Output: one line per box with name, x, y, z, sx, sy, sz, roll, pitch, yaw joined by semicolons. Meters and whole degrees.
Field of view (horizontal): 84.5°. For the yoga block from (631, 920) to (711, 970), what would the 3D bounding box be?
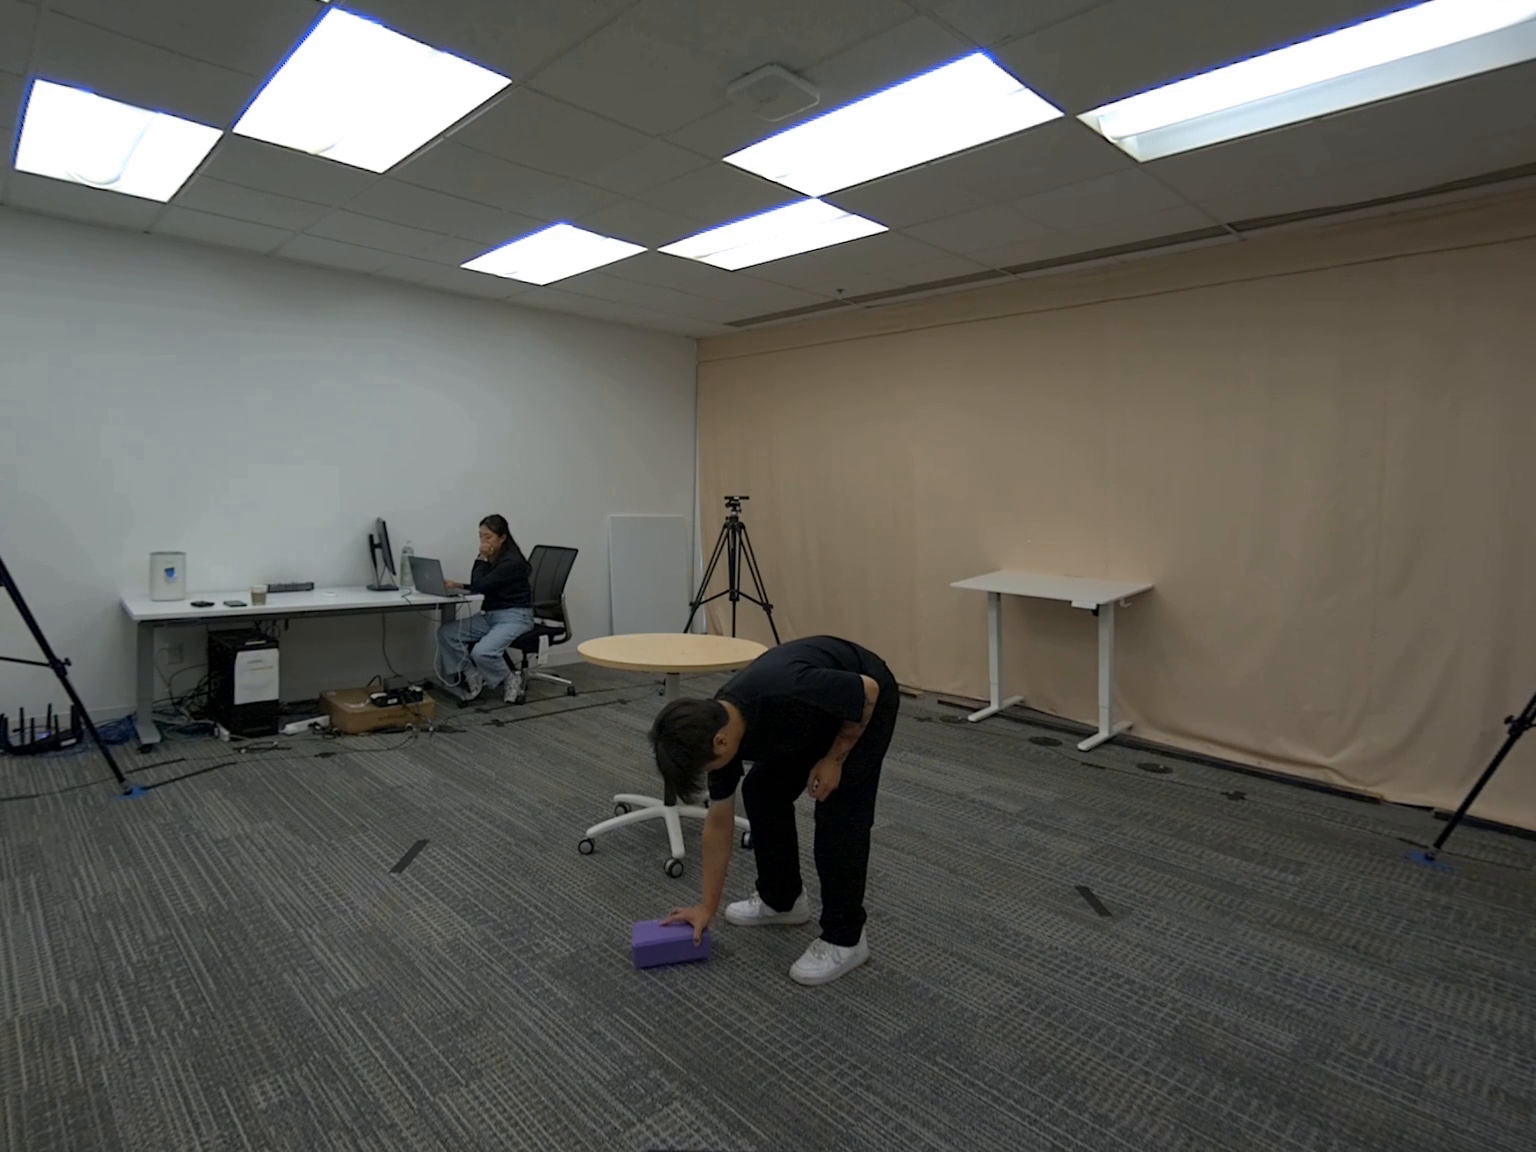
yoga block;-0.298;1.099;2.546;0.228;0.076;0.150;-2;1;-8
